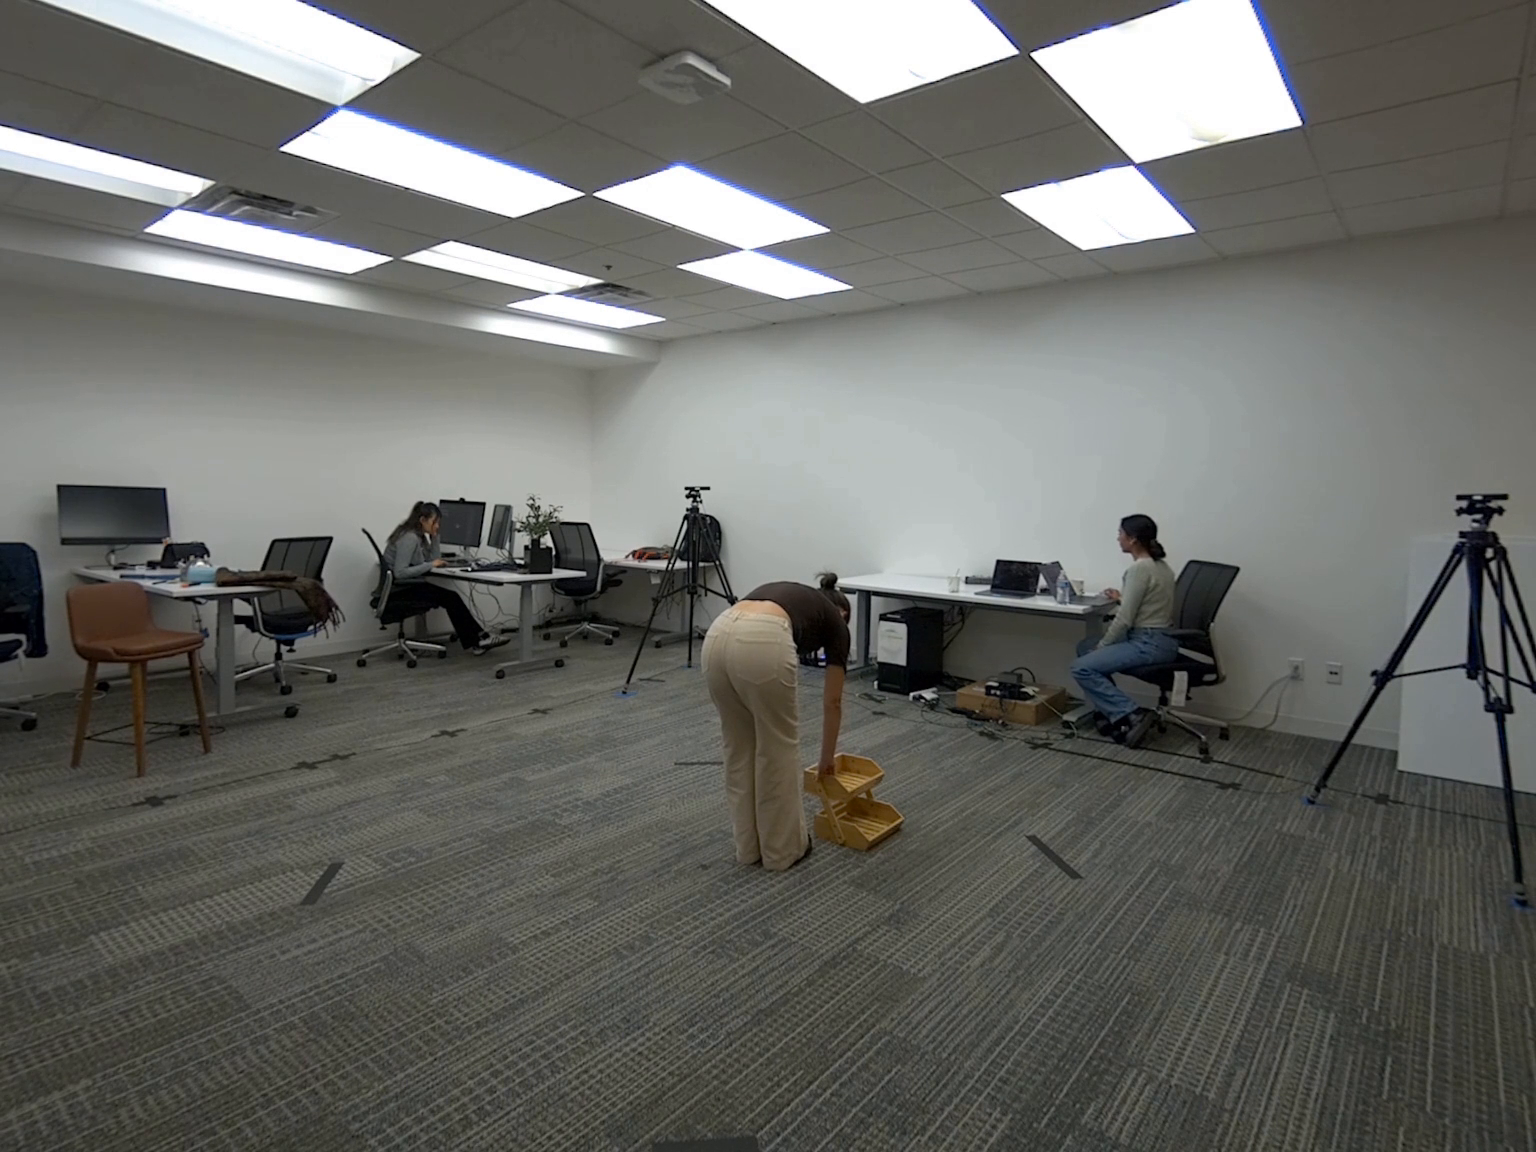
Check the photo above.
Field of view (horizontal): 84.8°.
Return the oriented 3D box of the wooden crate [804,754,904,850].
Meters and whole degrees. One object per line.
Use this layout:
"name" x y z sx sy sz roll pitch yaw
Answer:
"wooden crate" 0.346 0.905 3.465 0.312 0.272 0.315 3 5 37
